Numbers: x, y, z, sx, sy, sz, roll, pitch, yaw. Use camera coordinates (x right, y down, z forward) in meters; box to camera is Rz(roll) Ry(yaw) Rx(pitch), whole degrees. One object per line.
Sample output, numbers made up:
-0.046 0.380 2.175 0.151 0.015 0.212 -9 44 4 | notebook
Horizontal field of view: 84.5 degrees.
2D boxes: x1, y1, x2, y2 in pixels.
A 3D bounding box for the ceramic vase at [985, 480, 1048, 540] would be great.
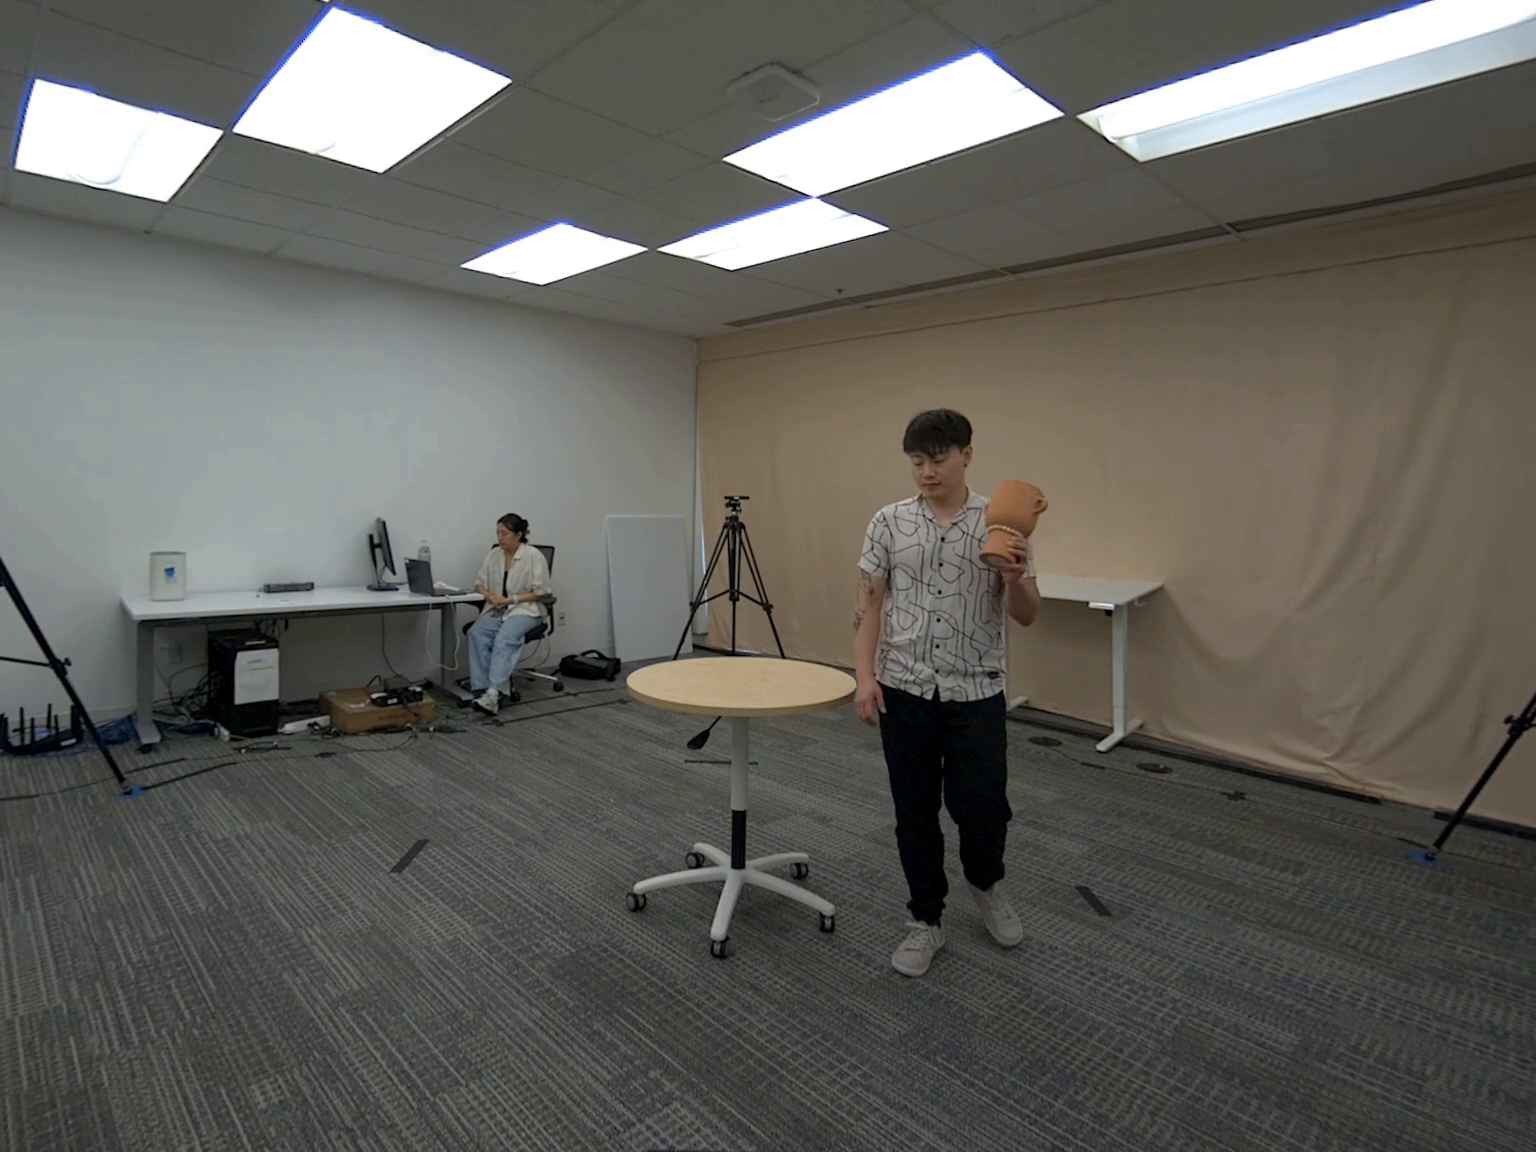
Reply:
0.639 -0.135 2.265 0.136 0.221 0.156 21 -19 8 | ceramic vase
